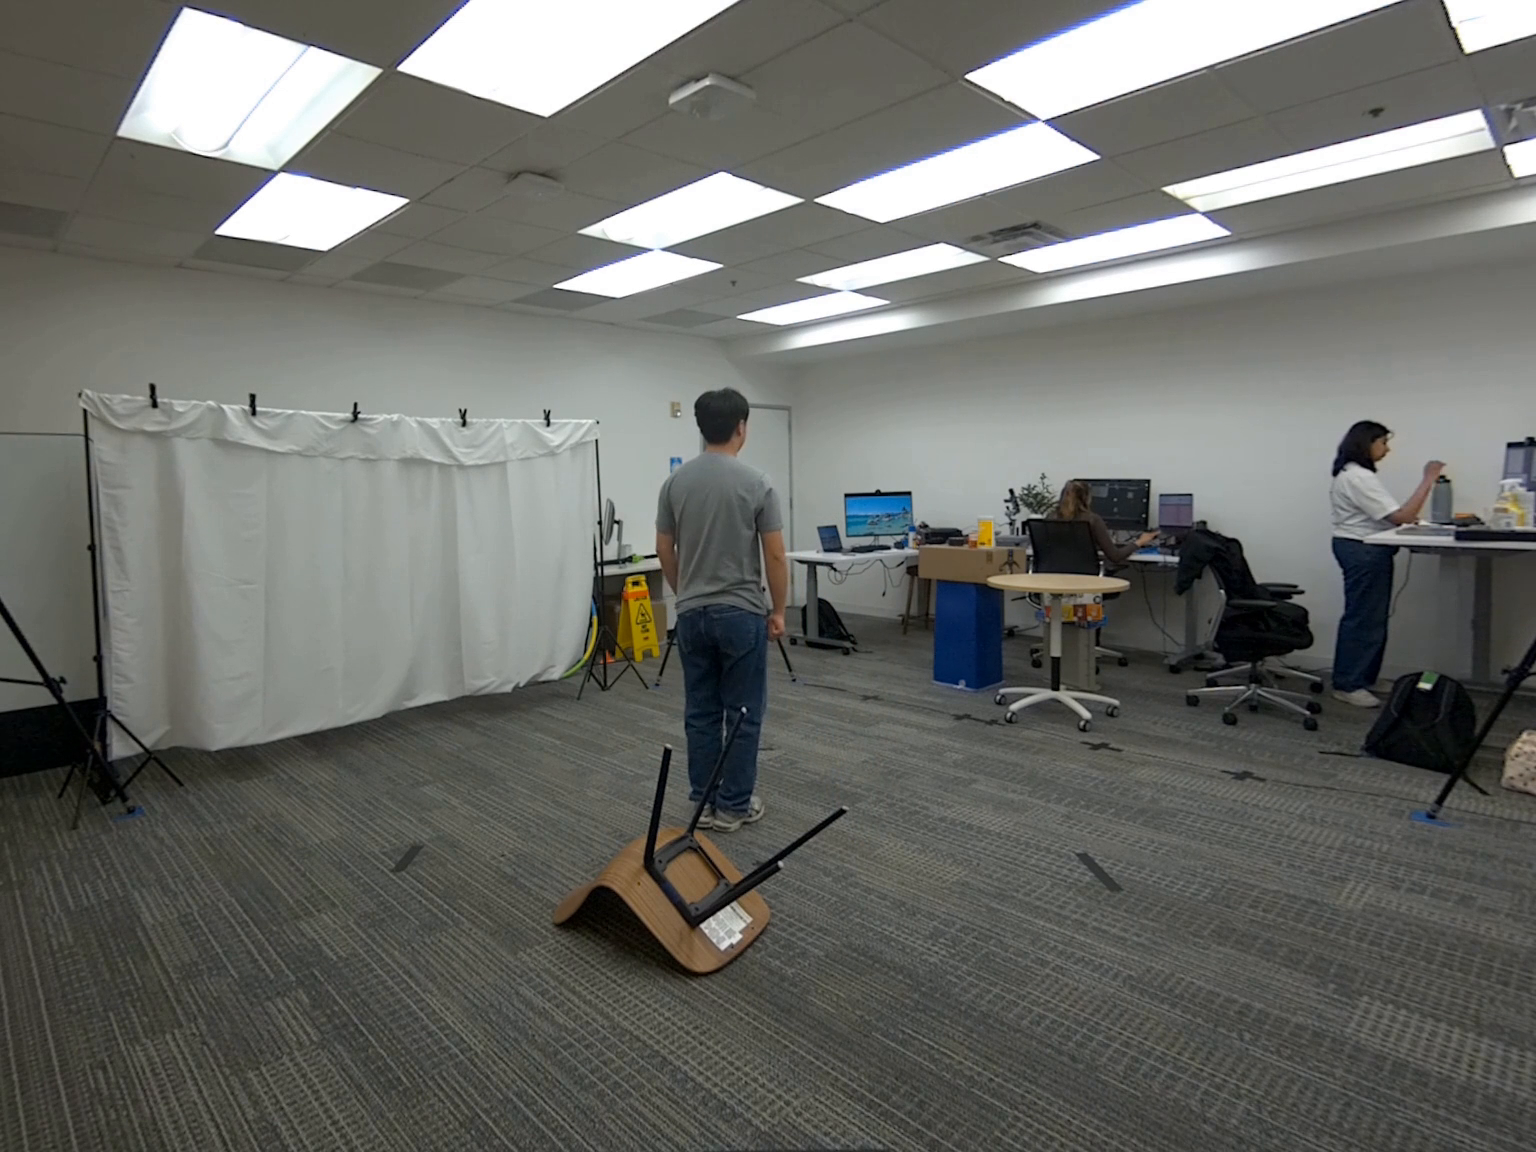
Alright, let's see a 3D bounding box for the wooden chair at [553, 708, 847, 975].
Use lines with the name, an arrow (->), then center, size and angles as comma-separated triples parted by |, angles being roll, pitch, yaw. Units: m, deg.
wooden chair -> -0.231, 0.937, 2.642 | 0.536, 0.874, 0.468 | 45, 24, 18
